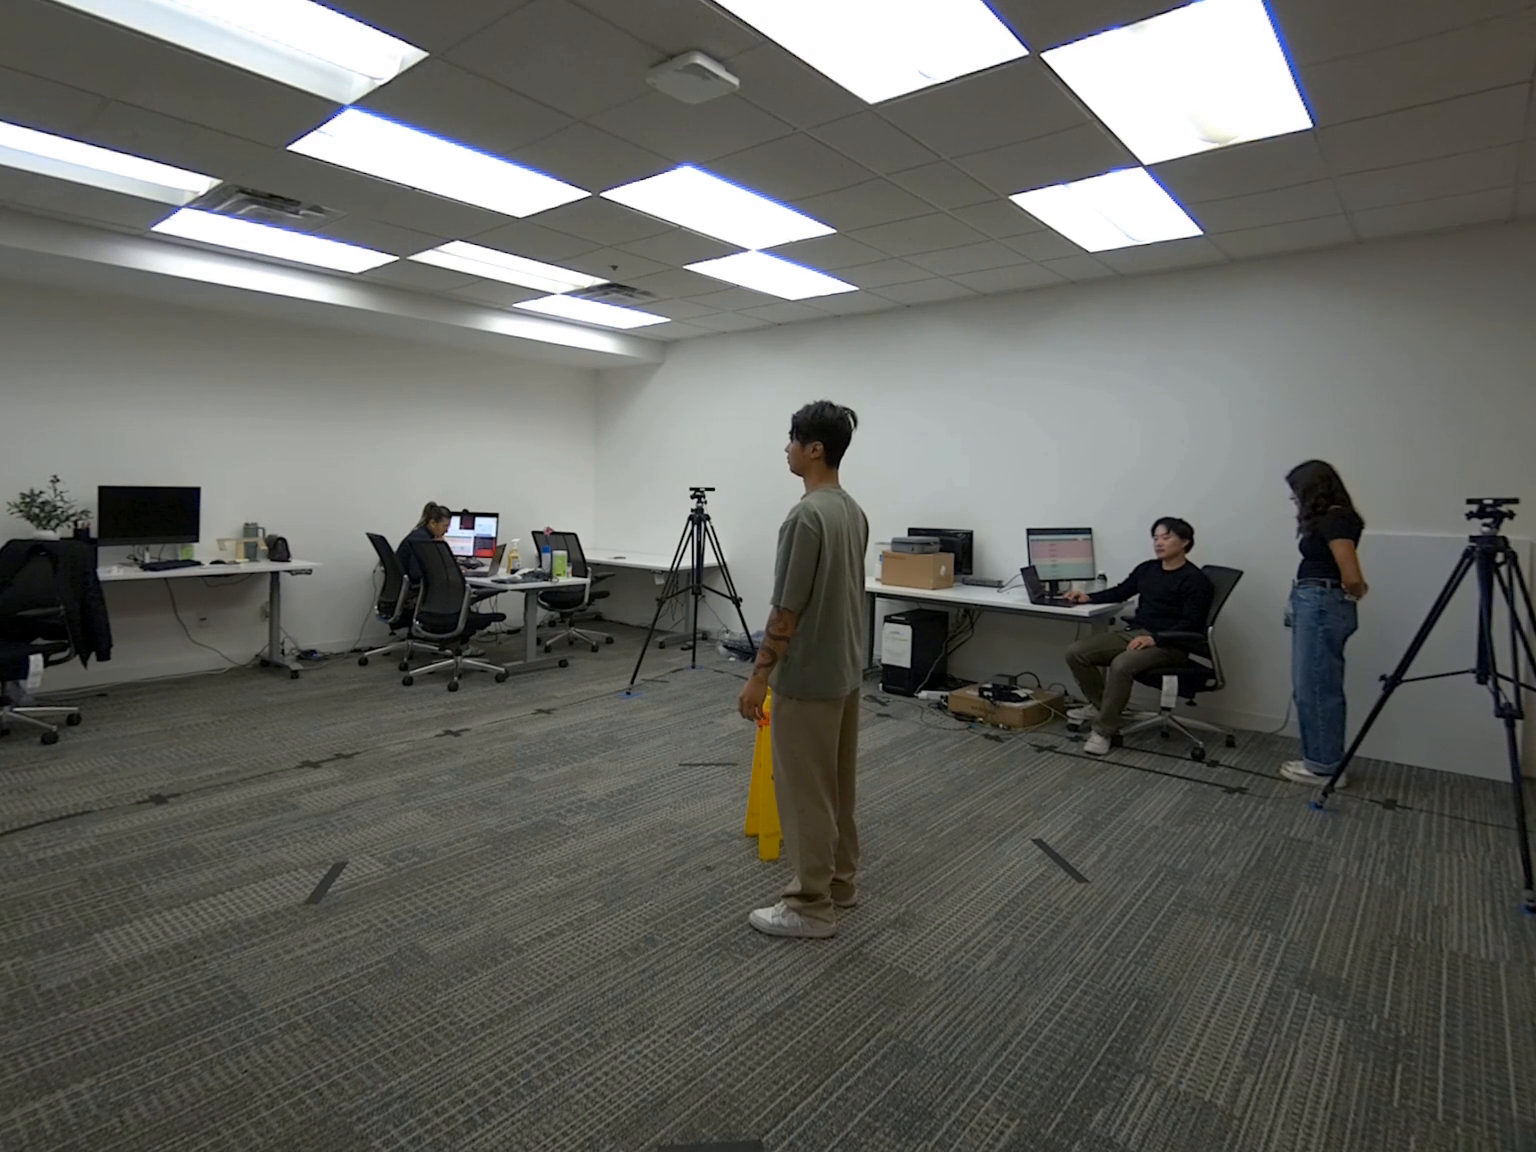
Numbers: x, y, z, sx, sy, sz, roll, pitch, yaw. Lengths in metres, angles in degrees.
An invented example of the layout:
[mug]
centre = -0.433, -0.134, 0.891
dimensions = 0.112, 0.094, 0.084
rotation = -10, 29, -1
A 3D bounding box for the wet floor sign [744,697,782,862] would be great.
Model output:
[wet floor sign]
centre = 0.078, 0.725, 3.317
dimensions = 0.278, 0.645, 0.294
rotation = 3, 1, -13
